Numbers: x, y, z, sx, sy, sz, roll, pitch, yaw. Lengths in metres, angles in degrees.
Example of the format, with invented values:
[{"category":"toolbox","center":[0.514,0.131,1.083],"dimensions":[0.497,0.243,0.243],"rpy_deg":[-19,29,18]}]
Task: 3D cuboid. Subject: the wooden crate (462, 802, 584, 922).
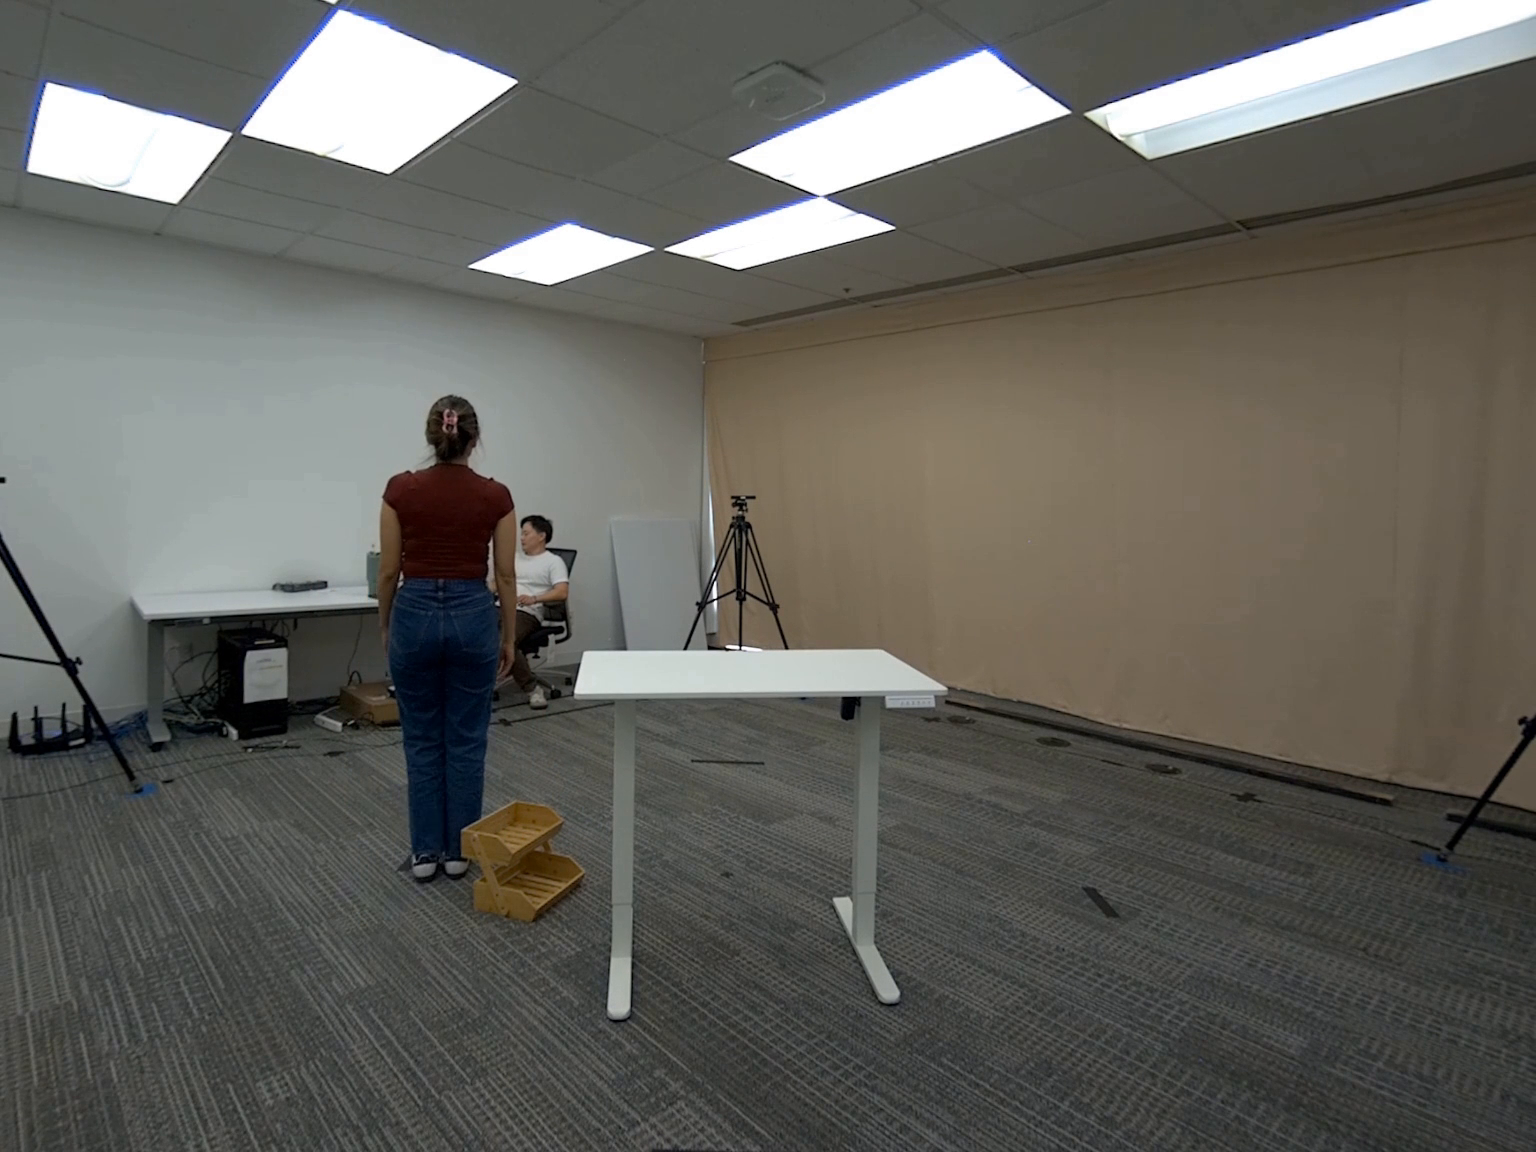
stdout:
[{"category":"wooden crate","center":[-0.844,0.975,2.905],"dimensions":[0.307,0.272,0.320],"rpy_deg":[2,5,21]}]
